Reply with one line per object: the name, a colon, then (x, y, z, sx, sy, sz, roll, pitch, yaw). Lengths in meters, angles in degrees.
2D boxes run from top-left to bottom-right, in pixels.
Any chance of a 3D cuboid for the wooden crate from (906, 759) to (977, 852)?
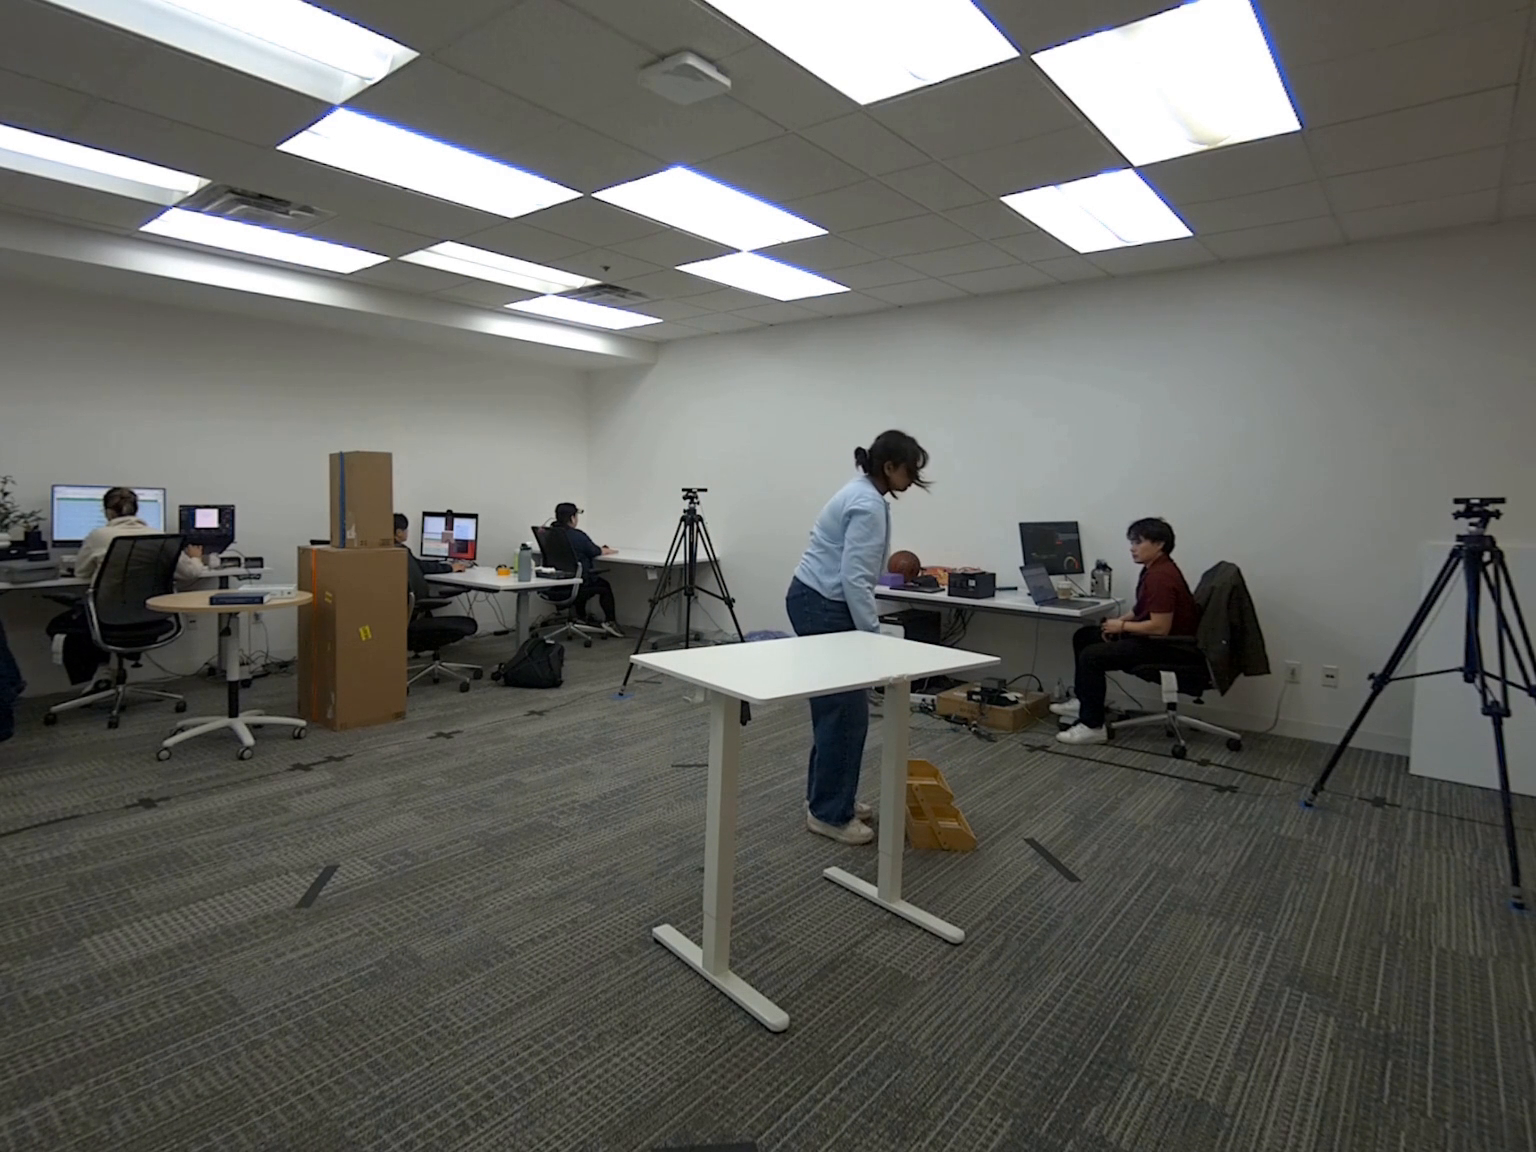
wooden crate: (0.670, 0.923, 3.477, 0.303, 0.272, 0.325, 0, 4, 2)
